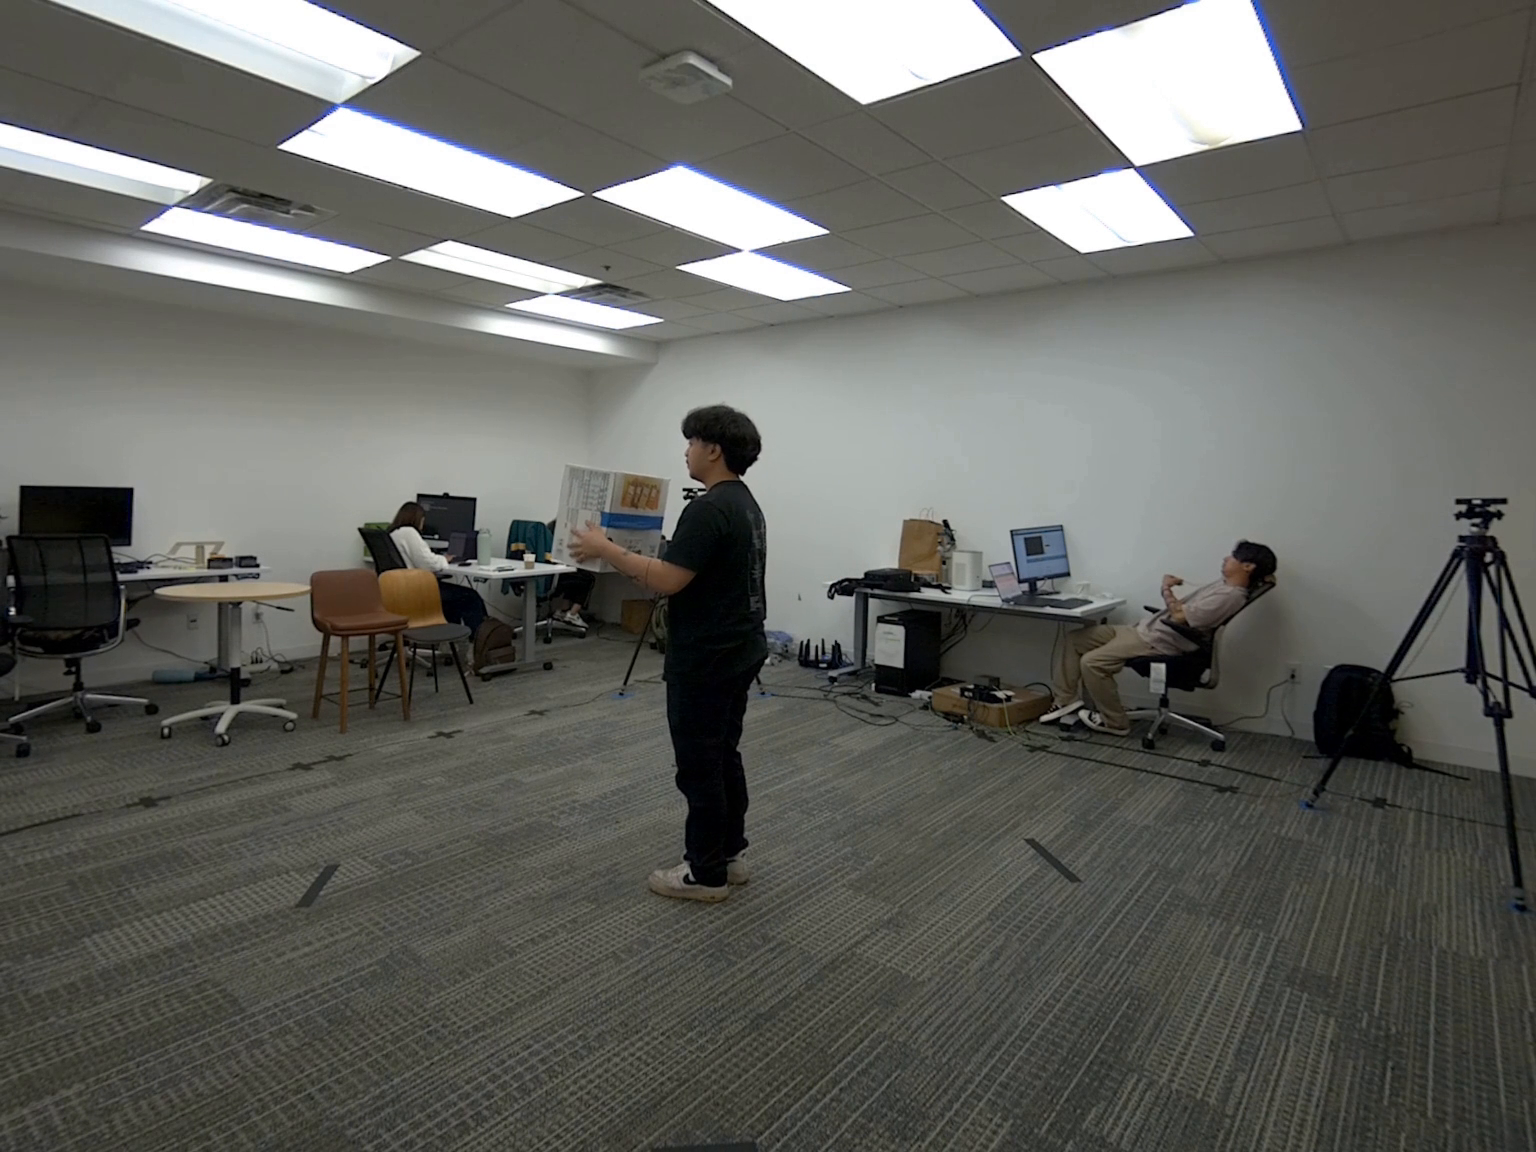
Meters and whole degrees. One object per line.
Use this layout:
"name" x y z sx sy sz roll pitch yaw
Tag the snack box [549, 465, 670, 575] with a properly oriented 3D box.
"snack box" -0.561 -0.200 3.015 0.211 0.339 0.396 11 5 20
